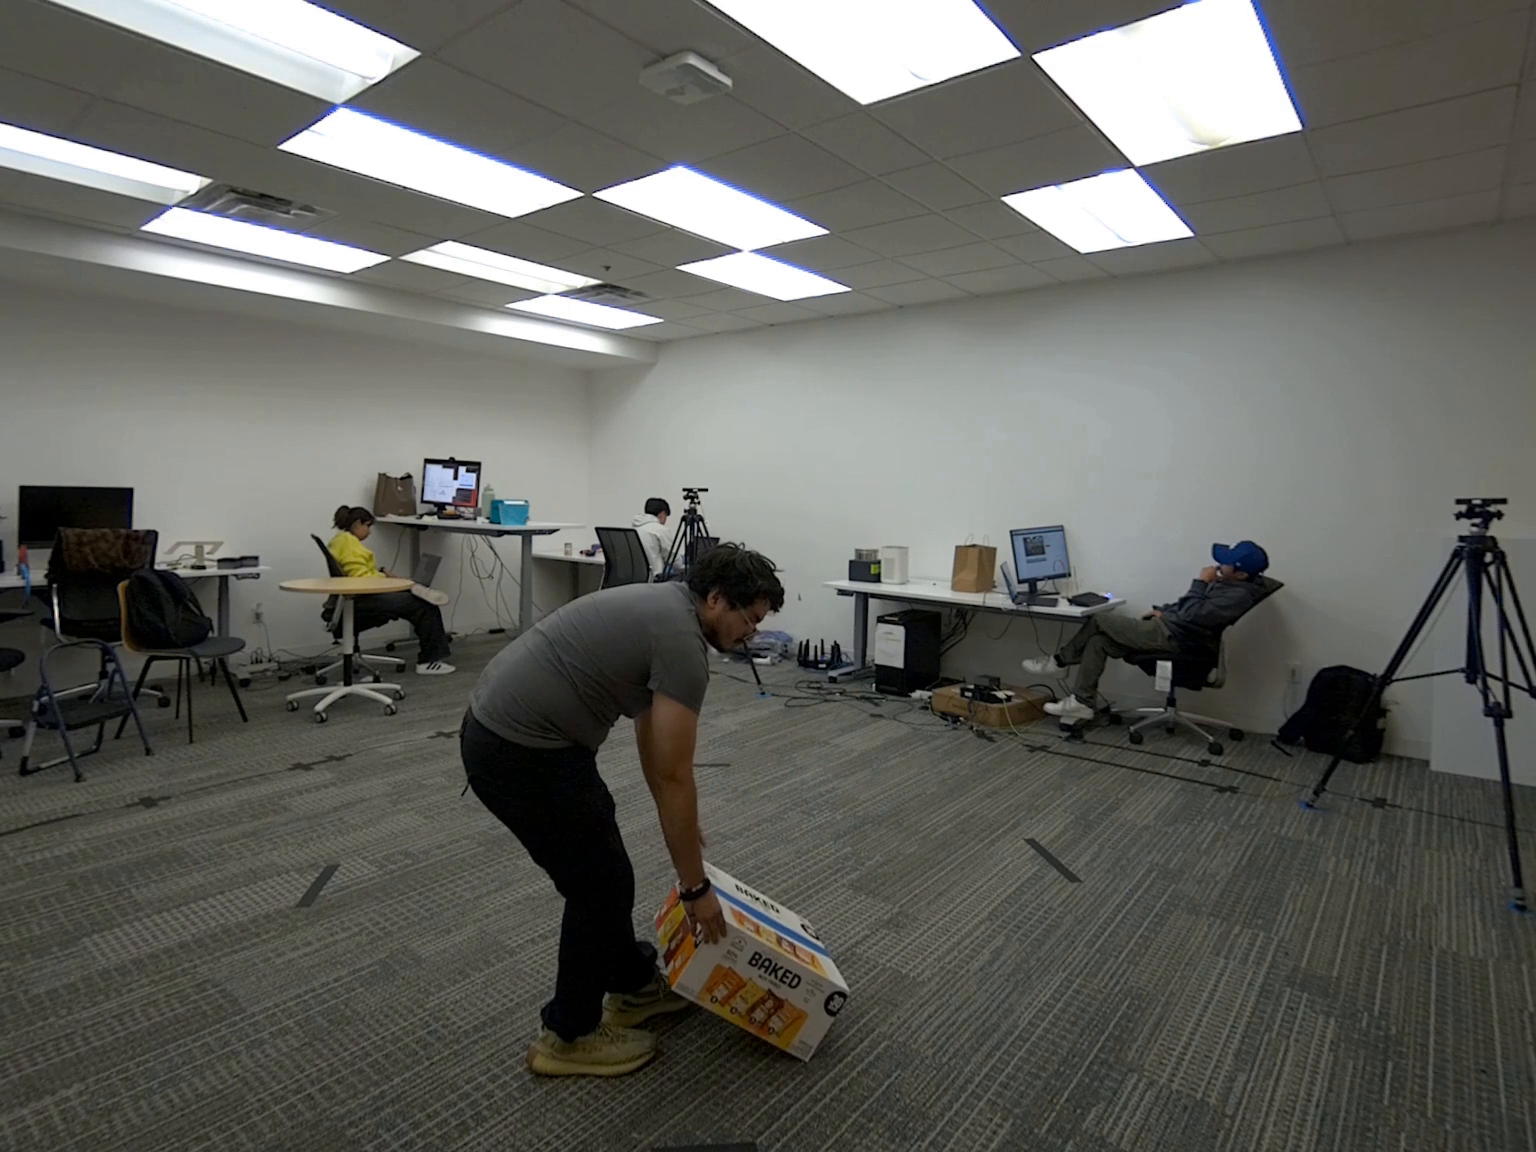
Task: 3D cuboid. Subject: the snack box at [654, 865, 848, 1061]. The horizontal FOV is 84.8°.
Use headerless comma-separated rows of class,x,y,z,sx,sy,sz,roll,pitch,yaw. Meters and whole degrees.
snack box,-0.059,0.972,2.199,0.398,0.206,0.346,34,-3,-13
